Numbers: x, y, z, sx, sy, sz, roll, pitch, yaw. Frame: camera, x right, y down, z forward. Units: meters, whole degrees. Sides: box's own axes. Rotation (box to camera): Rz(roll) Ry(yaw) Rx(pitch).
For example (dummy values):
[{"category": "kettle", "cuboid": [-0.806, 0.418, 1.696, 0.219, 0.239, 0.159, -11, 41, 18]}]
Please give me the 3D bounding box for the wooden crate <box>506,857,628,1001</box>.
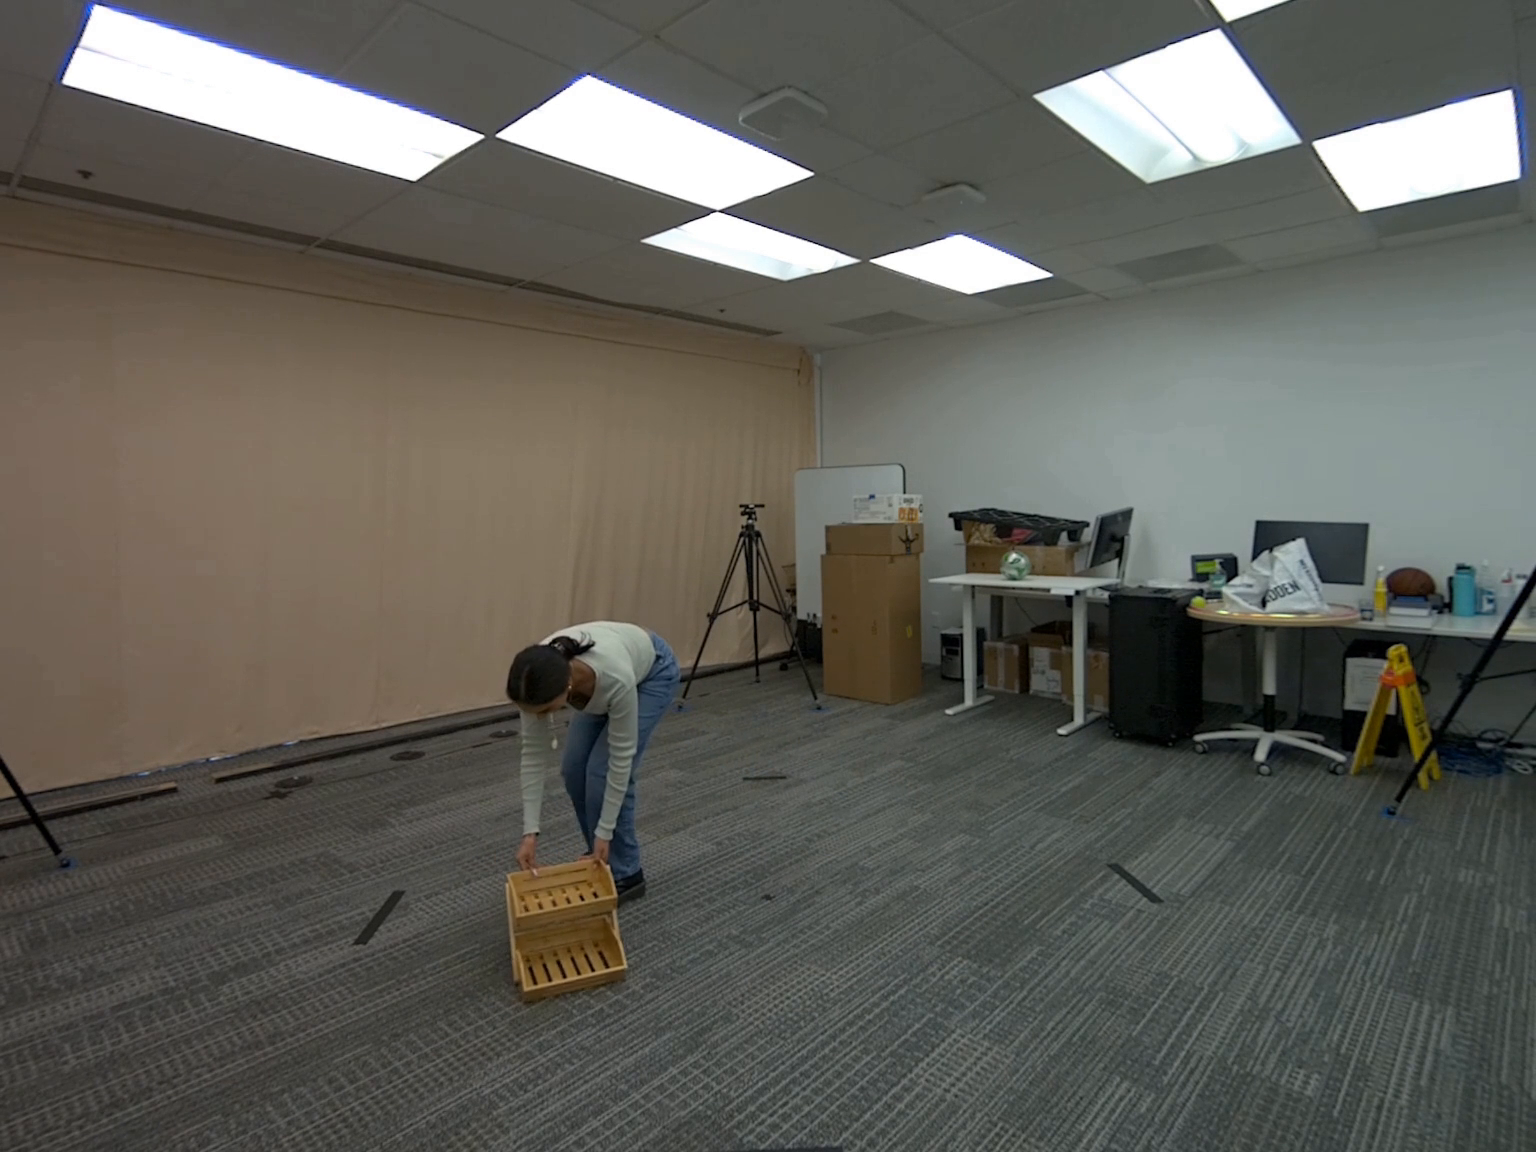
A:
[{"category": "wooden crate", "cuboid": [-0.612, 1.051, 2.540, 0.317, 0.273, 0.309, -3, 4, -24]}]
